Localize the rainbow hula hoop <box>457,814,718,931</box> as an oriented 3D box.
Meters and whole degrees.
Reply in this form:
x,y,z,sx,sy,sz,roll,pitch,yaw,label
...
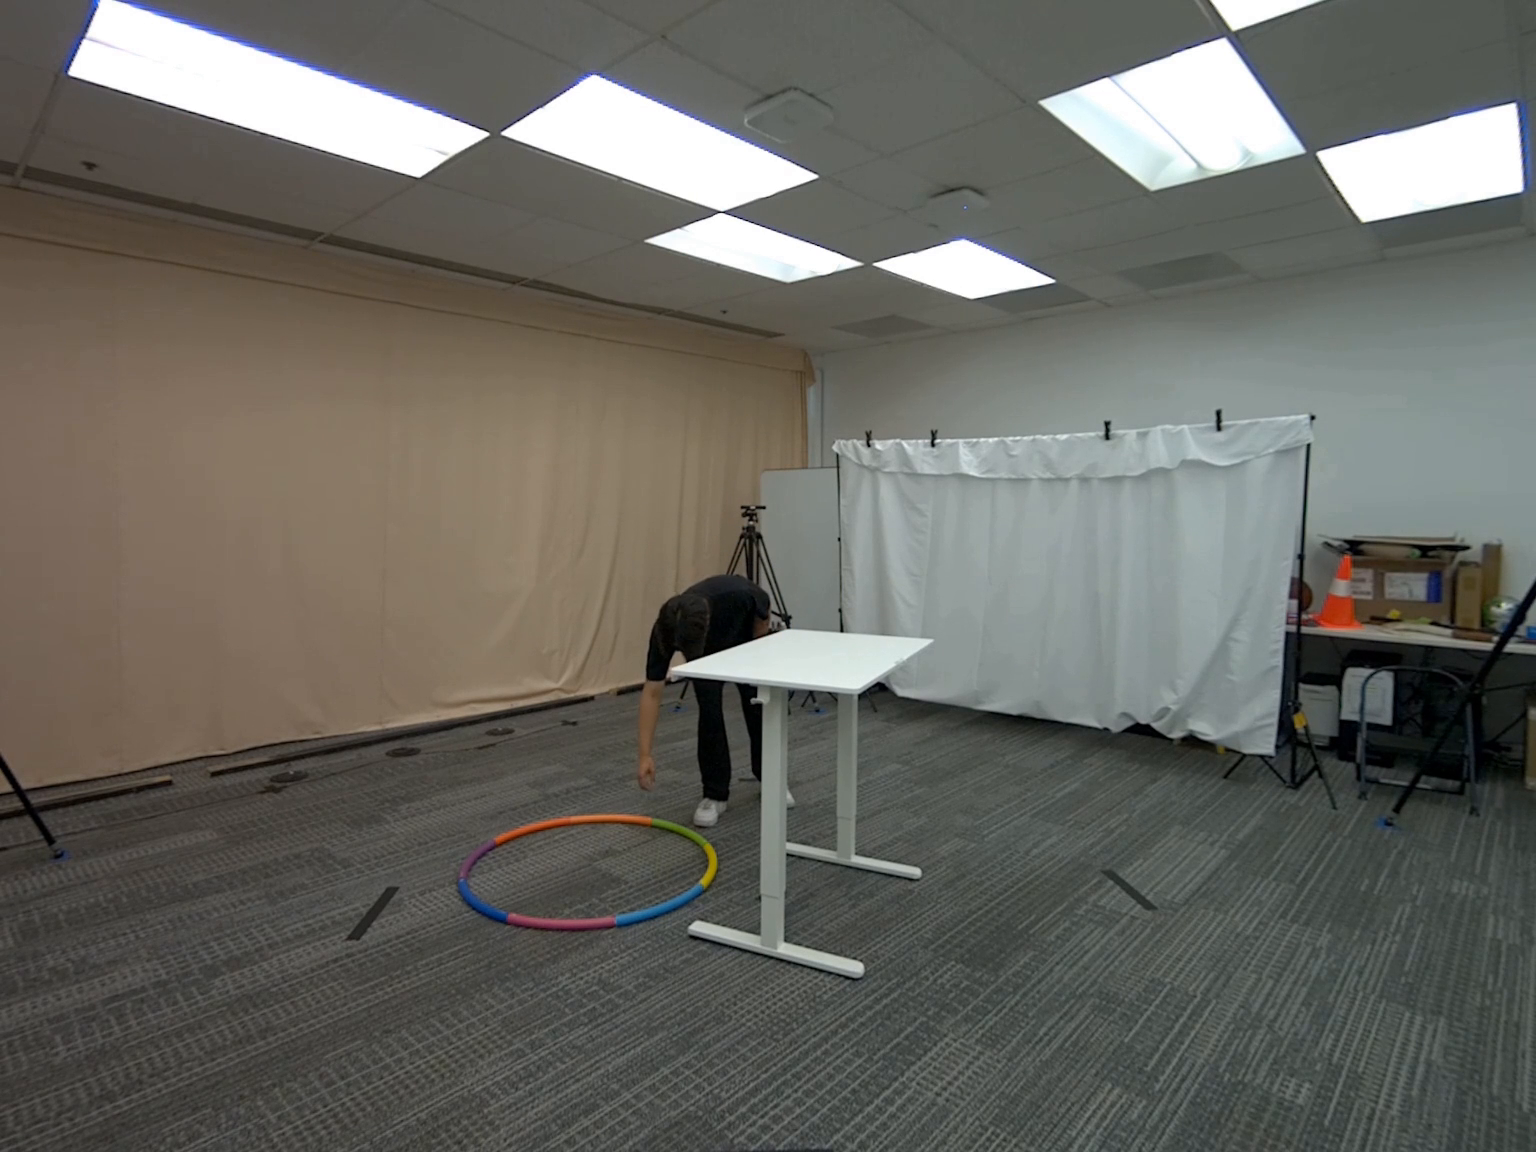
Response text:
x,y,z,sx,sy,sz,roll,pitch,yaw,label
-0.683,1.100,3.244,0.978,0.035,0.982,0,5,-2,rainbow hula hoop
